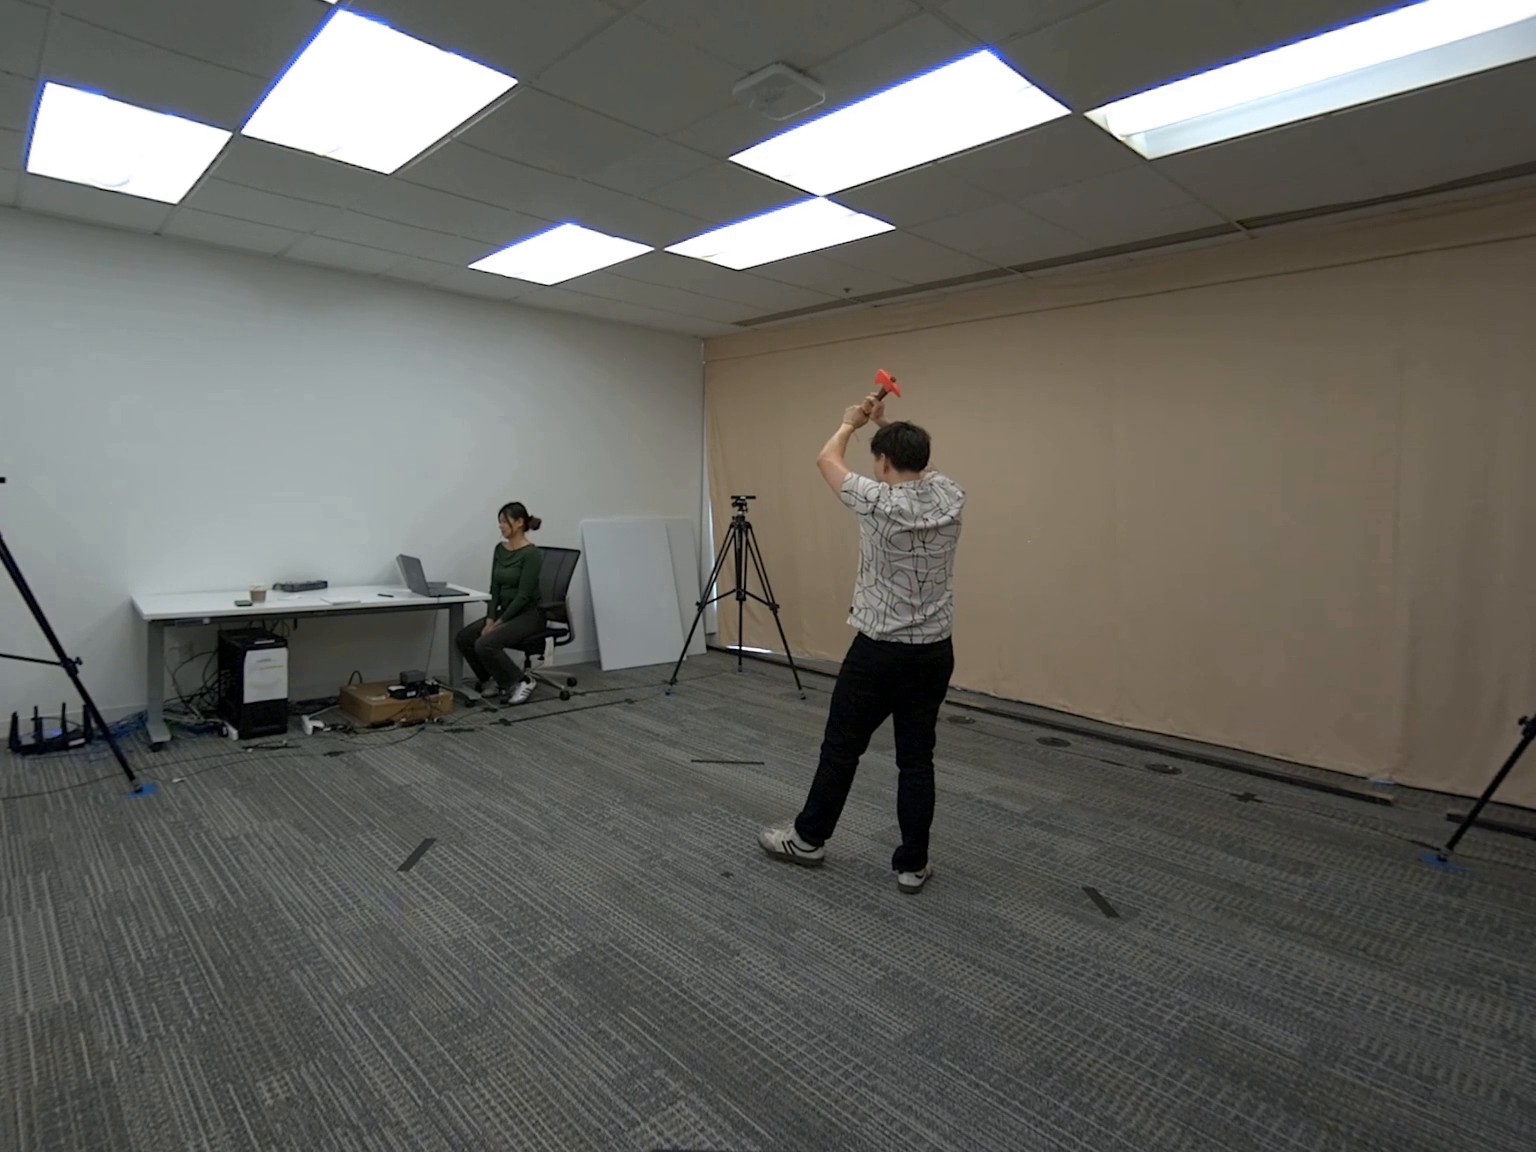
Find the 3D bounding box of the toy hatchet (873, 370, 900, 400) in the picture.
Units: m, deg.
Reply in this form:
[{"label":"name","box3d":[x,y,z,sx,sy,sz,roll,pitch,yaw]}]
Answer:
[{"label":"toy hatchet","box3d":[0.378,-0.694,3.206,0.029,0.131,0.273,-21,0,-38]}]
